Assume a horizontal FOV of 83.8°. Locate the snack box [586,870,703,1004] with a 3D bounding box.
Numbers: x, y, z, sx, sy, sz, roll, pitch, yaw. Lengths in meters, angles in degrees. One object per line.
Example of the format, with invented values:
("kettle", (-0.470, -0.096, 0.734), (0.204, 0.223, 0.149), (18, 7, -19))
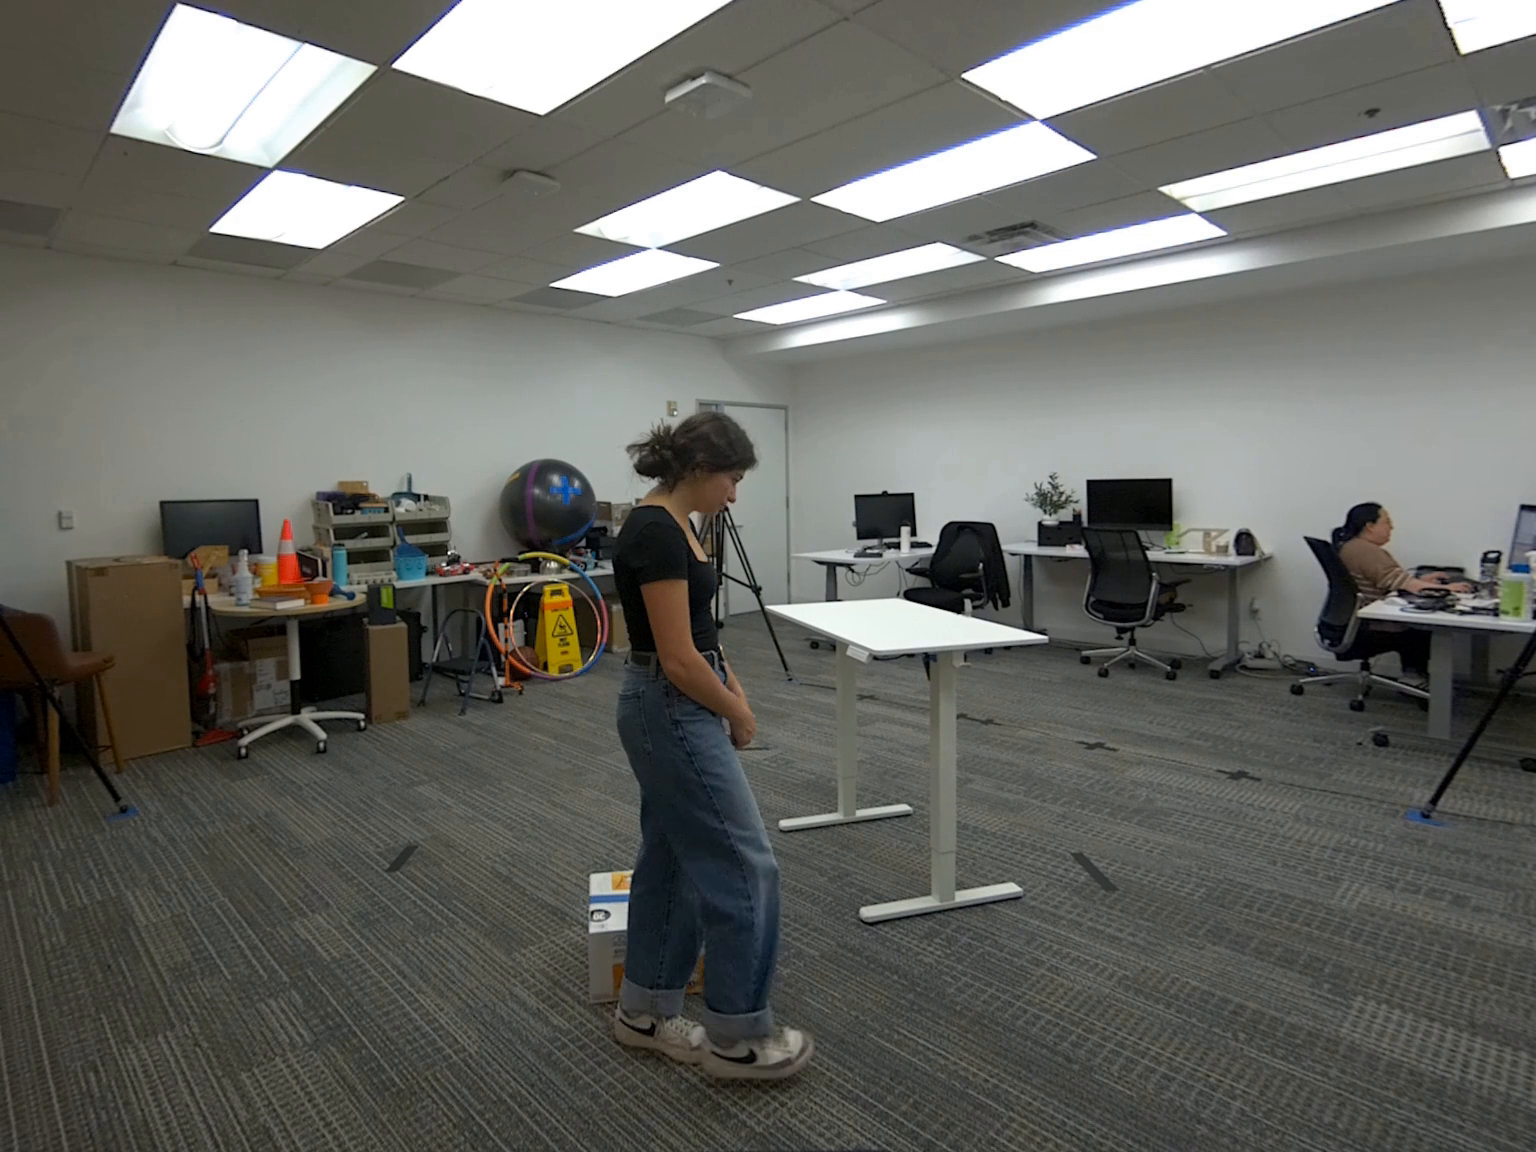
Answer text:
("snack box", (-0.305, 1.024, 2.469), (0.402, 0.205, 0.345), (-2, 6, -10))
